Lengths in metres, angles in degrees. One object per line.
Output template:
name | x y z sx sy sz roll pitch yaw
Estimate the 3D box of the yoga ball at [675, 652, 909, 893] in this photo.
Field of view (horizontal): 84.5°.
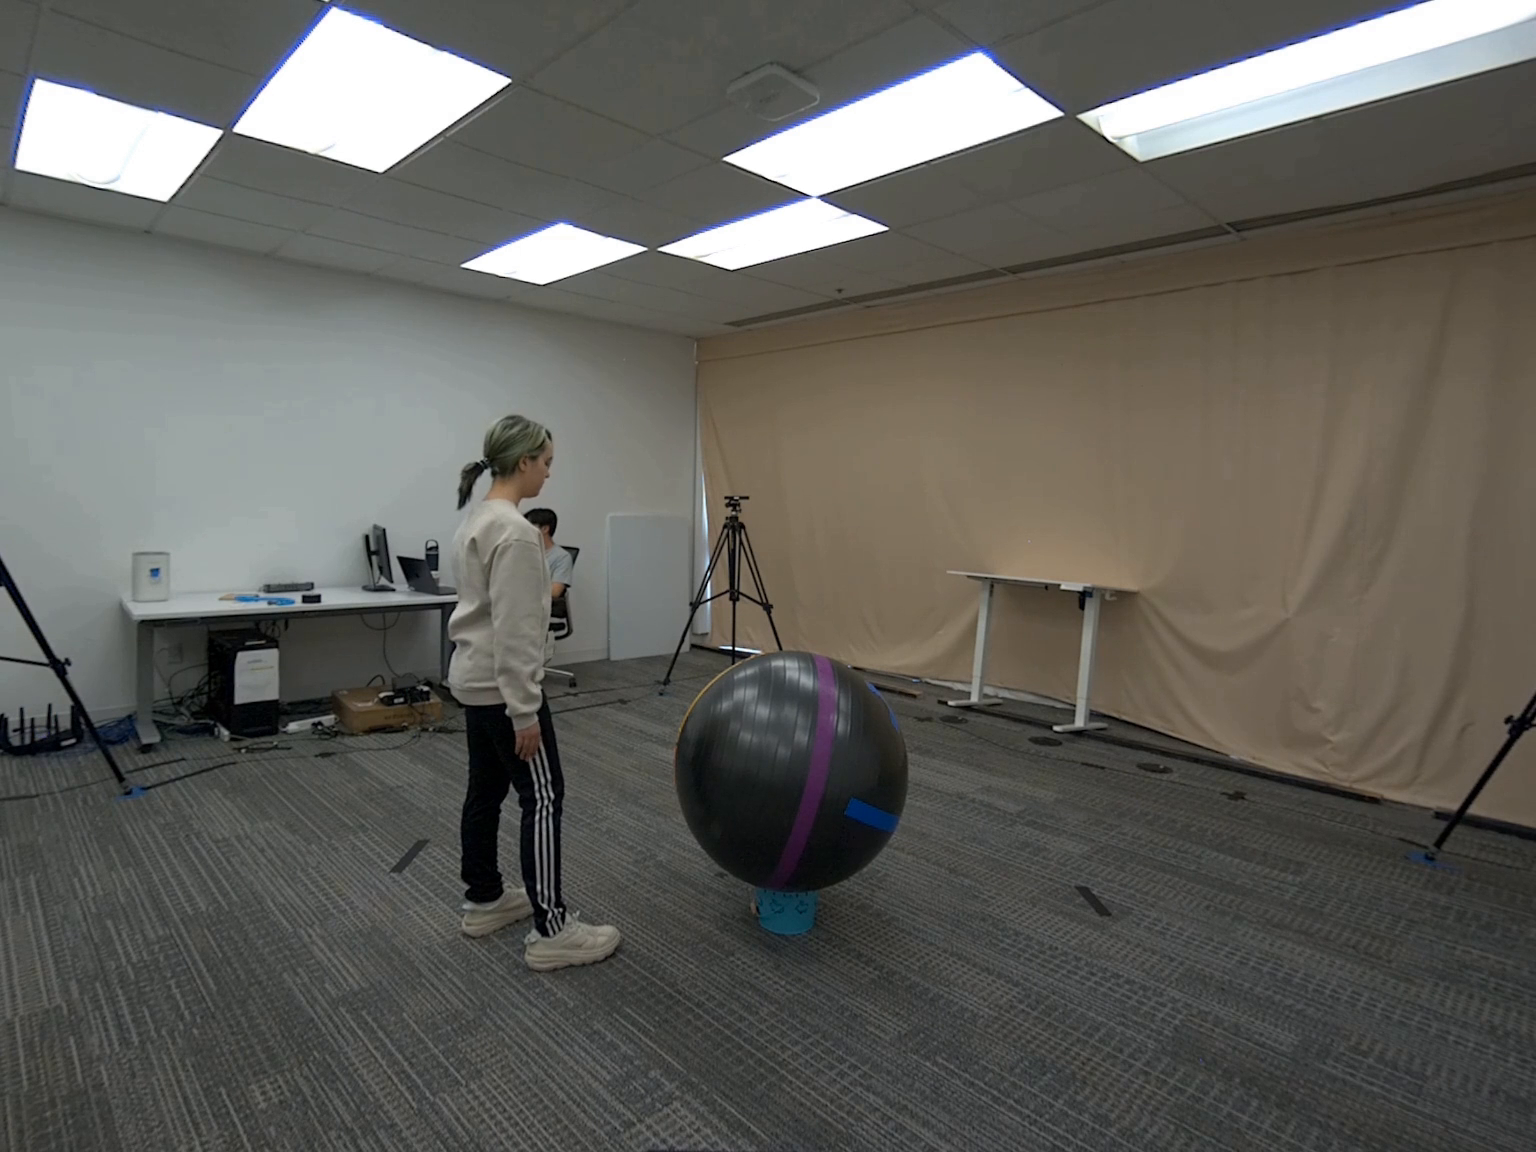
yoga ball | 0.068 0.628 2.753 0.757 0.756 0.761 1 4 -1
